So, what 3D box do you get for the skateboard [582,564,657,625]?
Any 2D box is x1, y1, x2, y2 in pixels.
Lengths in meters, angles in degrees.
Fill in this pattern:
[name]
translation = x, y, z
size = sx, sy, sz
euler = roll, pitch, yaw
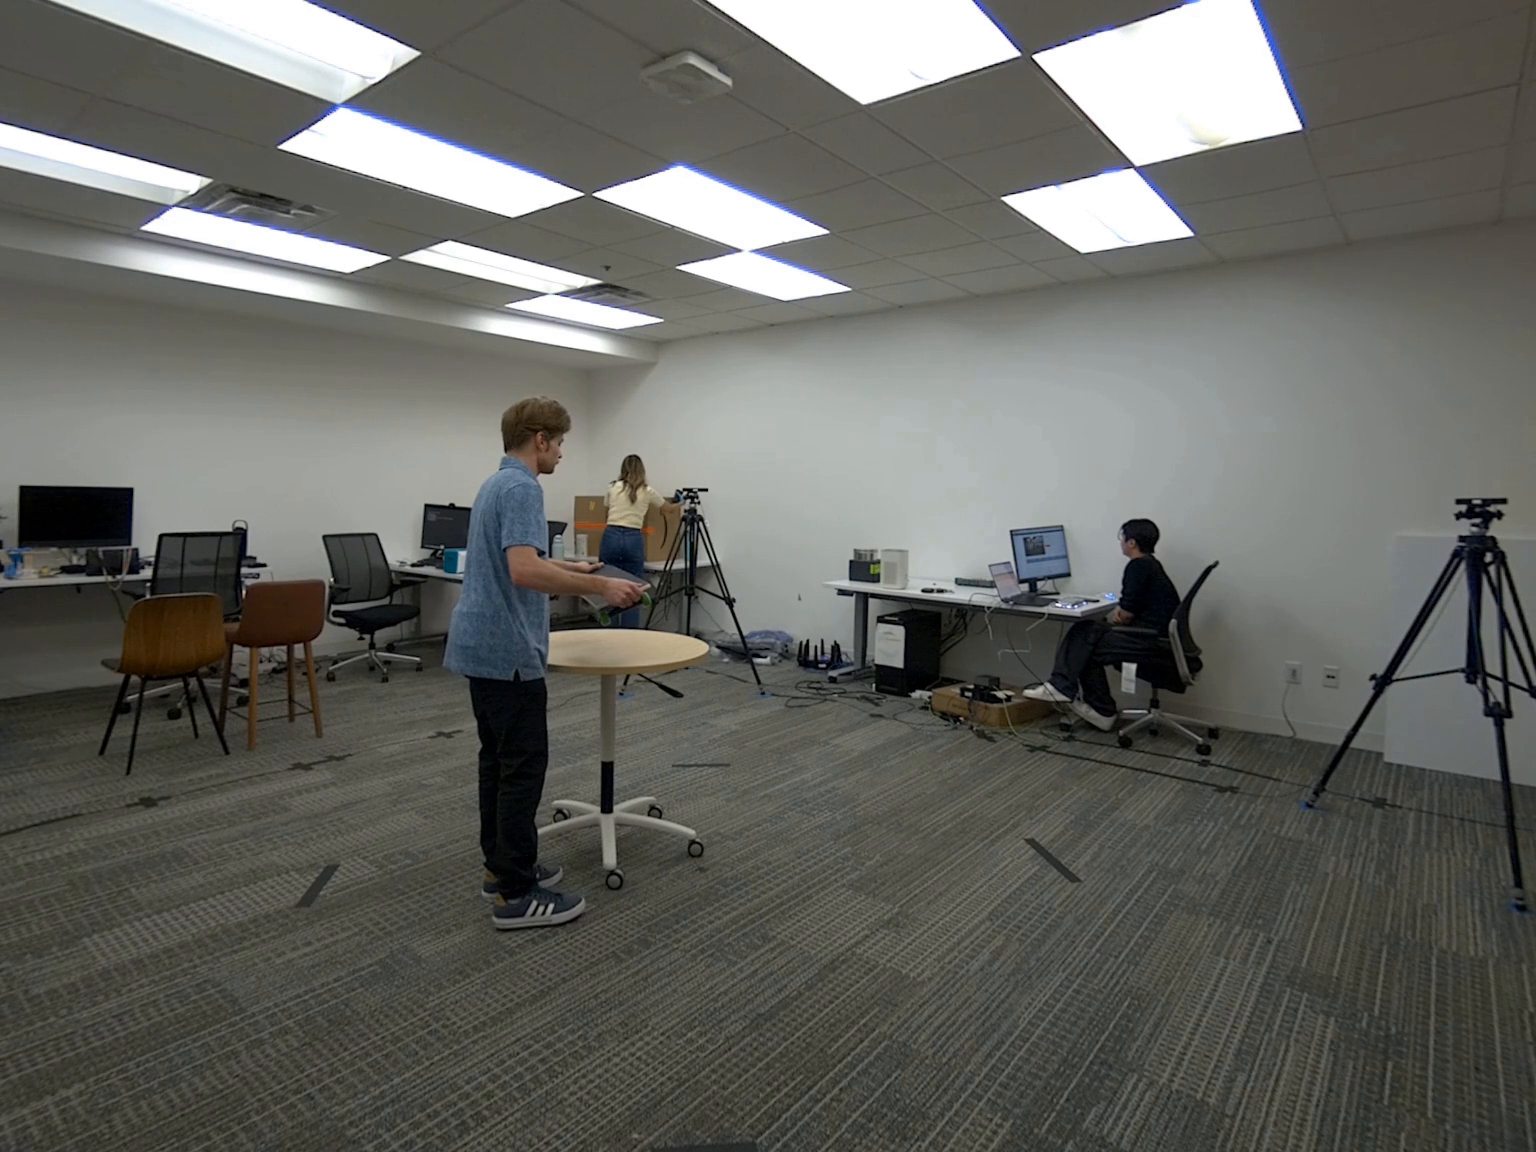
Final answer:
[skateboard]
translation = -0.596, 0.068, 3.084
size = 0.192, 0.109, 0.803
euler = -25, 14, -15
